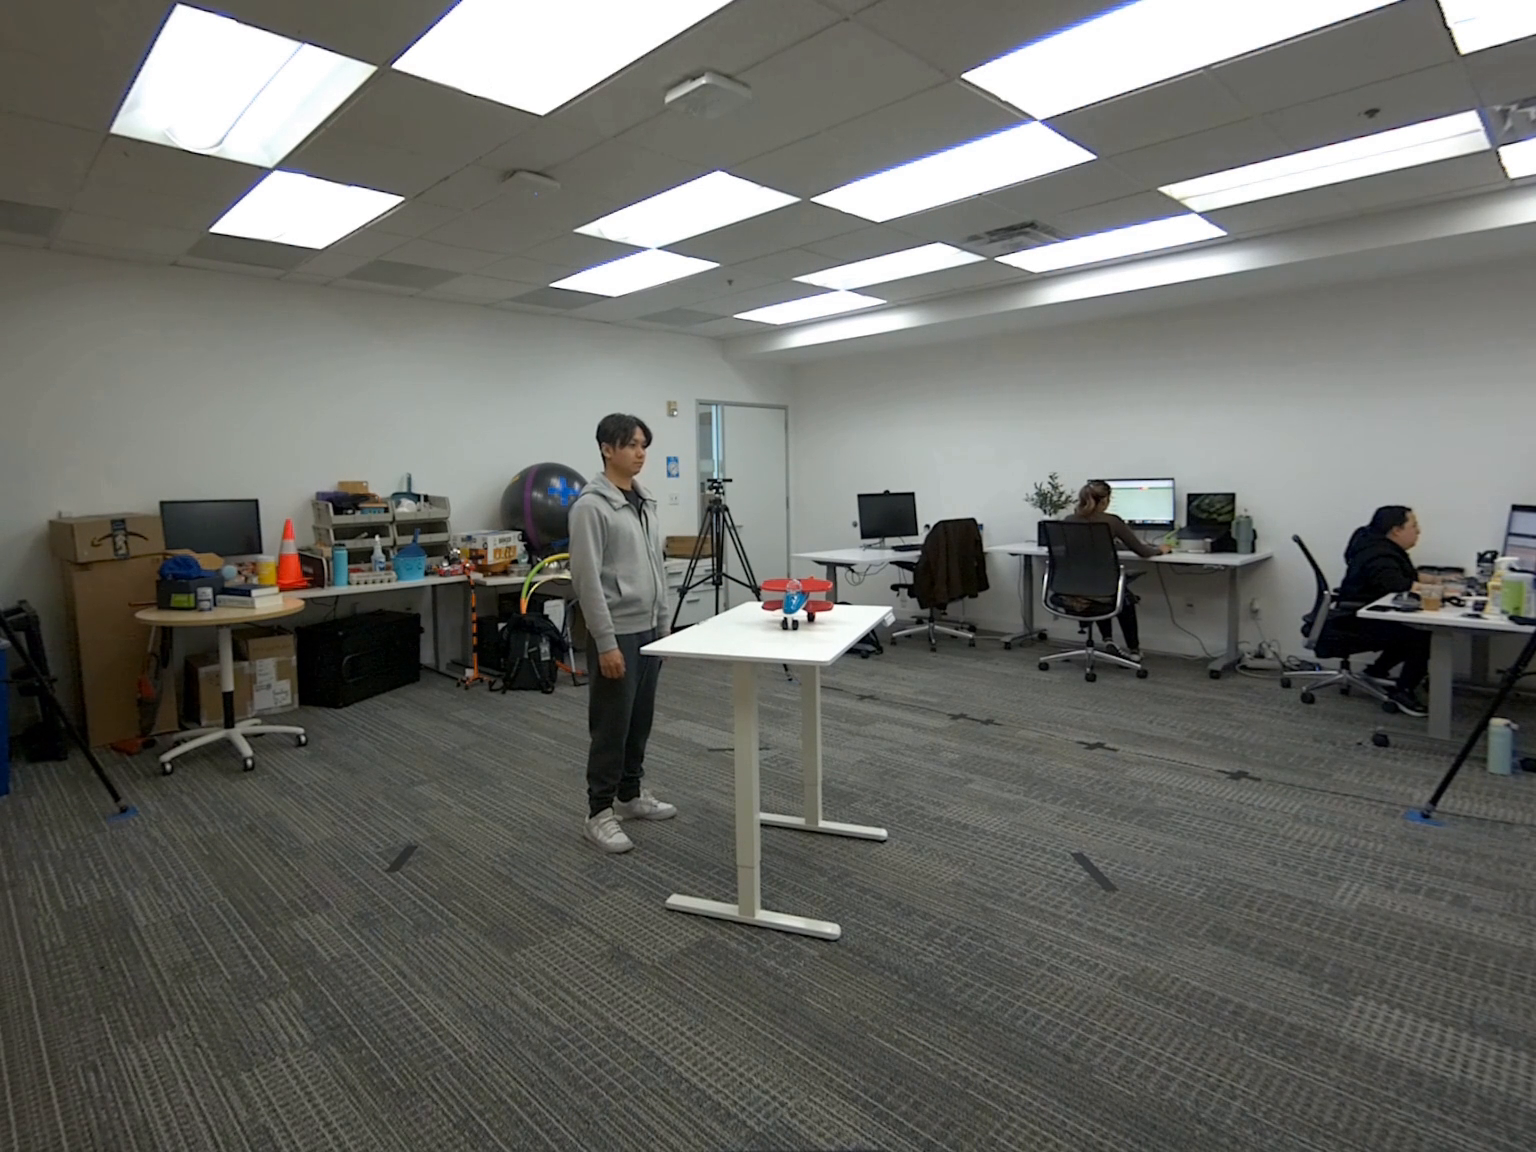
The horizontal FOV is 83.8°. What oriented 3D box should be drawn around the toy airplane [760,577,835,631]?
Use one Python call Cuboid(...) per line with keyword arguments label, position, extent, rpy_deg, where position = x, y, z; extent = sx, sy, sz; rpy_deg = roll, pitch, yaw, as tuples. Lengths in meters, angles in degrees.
Cuboid(label="toy airplane", position=(0.114, 0.097, 2.996), extent=(0.247, 0.156, 0.264), rpy_deg=(-4, 6, -17))
